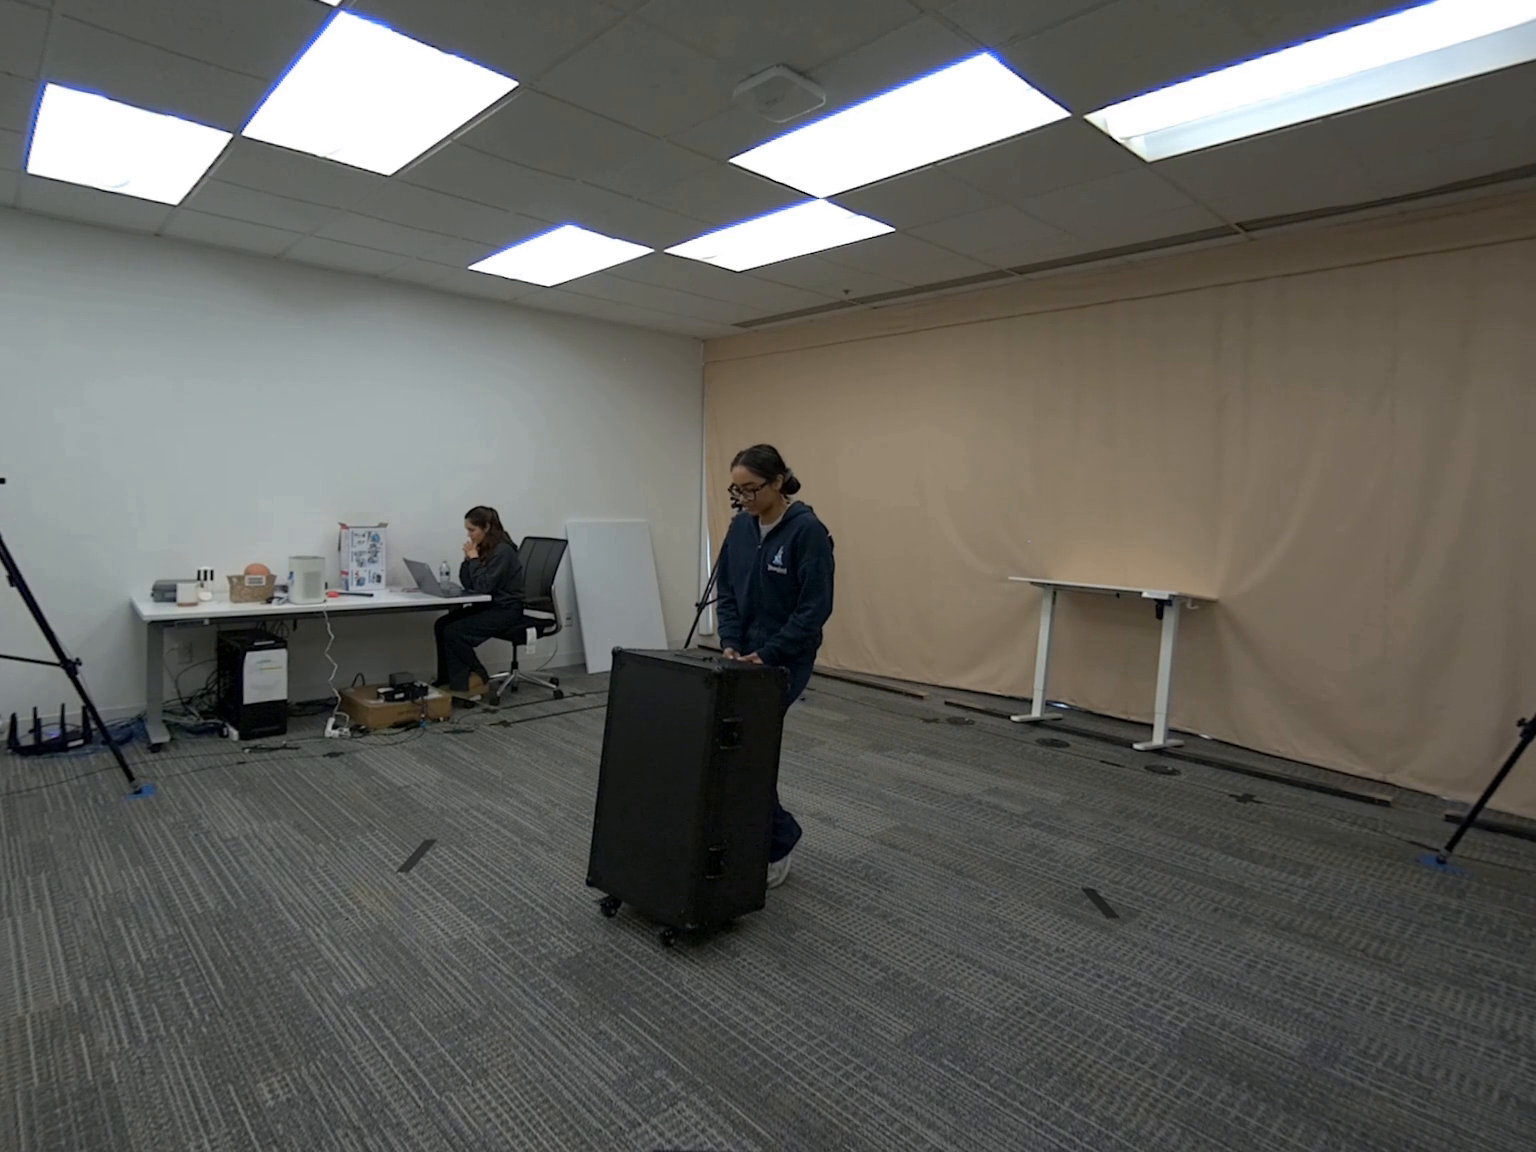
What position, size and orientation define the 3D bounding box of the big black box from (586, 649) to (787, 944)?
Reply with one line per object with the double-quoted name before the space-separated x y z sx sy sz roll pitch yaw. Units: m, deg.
"big black box" -0.269 0.701 2.781 0.534 0.863 0.385 4 -5 38
